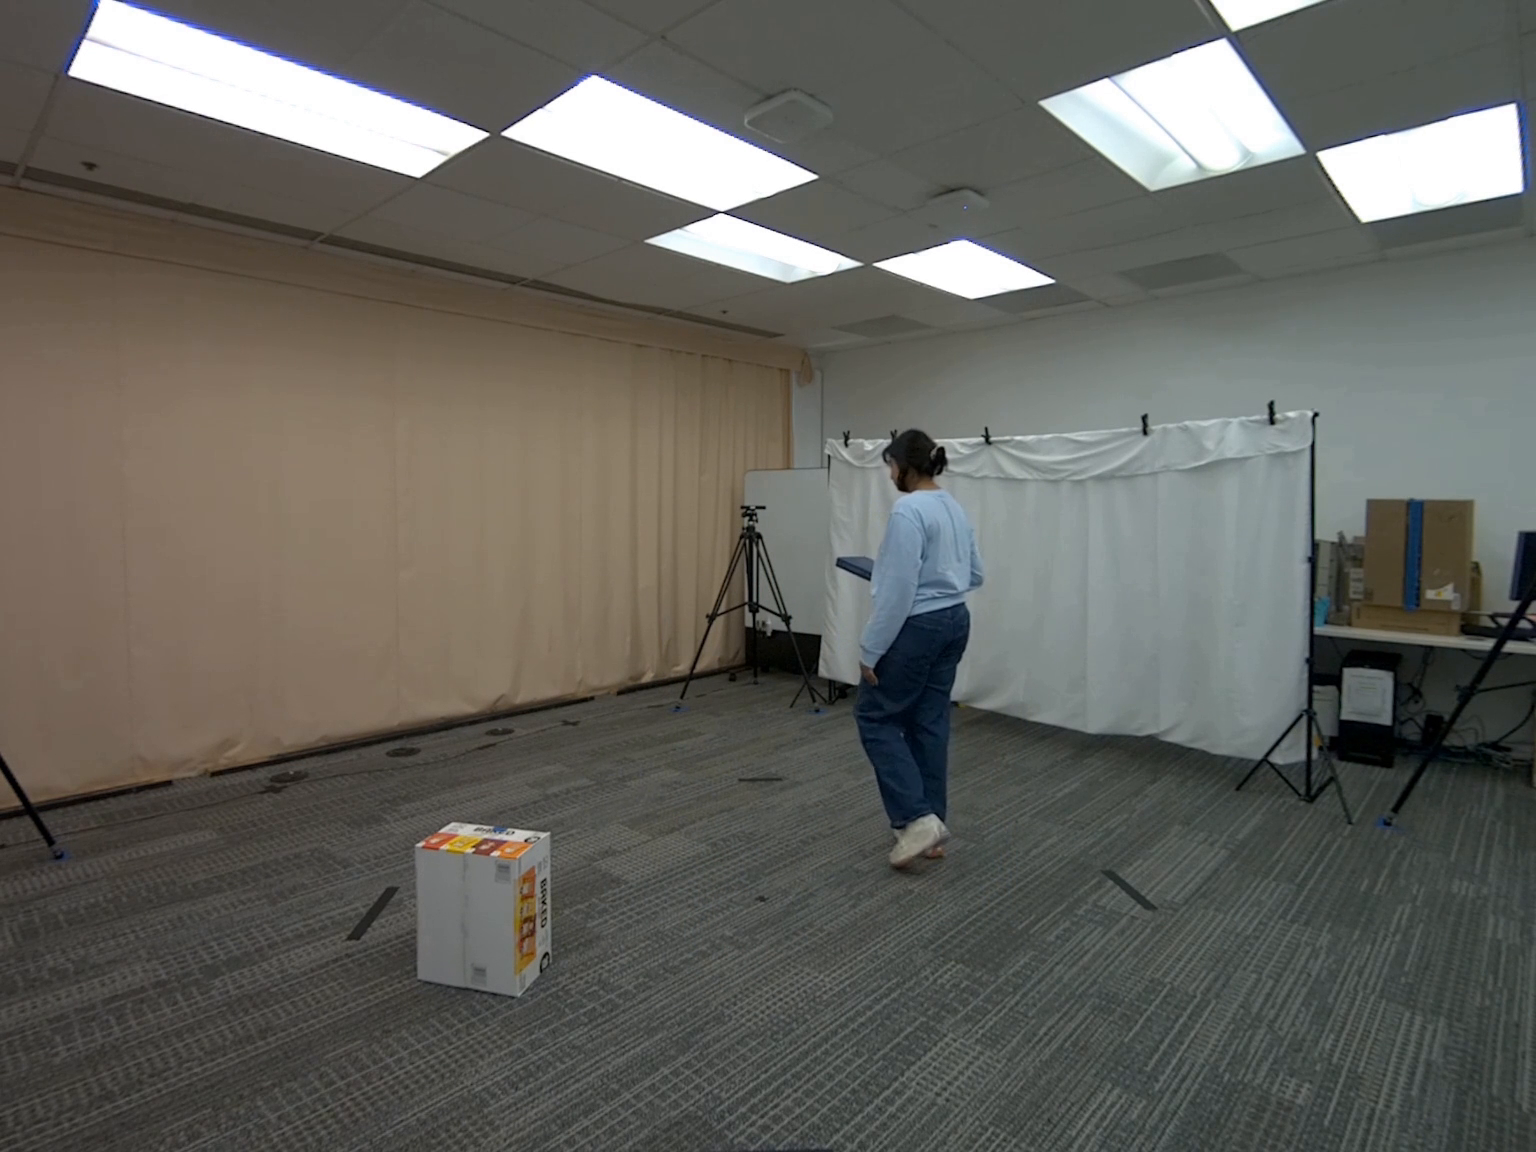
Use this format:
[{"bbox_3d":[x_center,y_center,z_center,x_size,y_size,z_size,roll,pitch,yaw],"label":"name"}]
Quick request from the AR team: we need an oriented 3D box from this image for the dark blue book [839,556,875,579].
[{"bbox_3d":[0.450,-0.034,3.640,0.158,0.045,0.254,0,15,-36],"label":"dark blue book"}]
